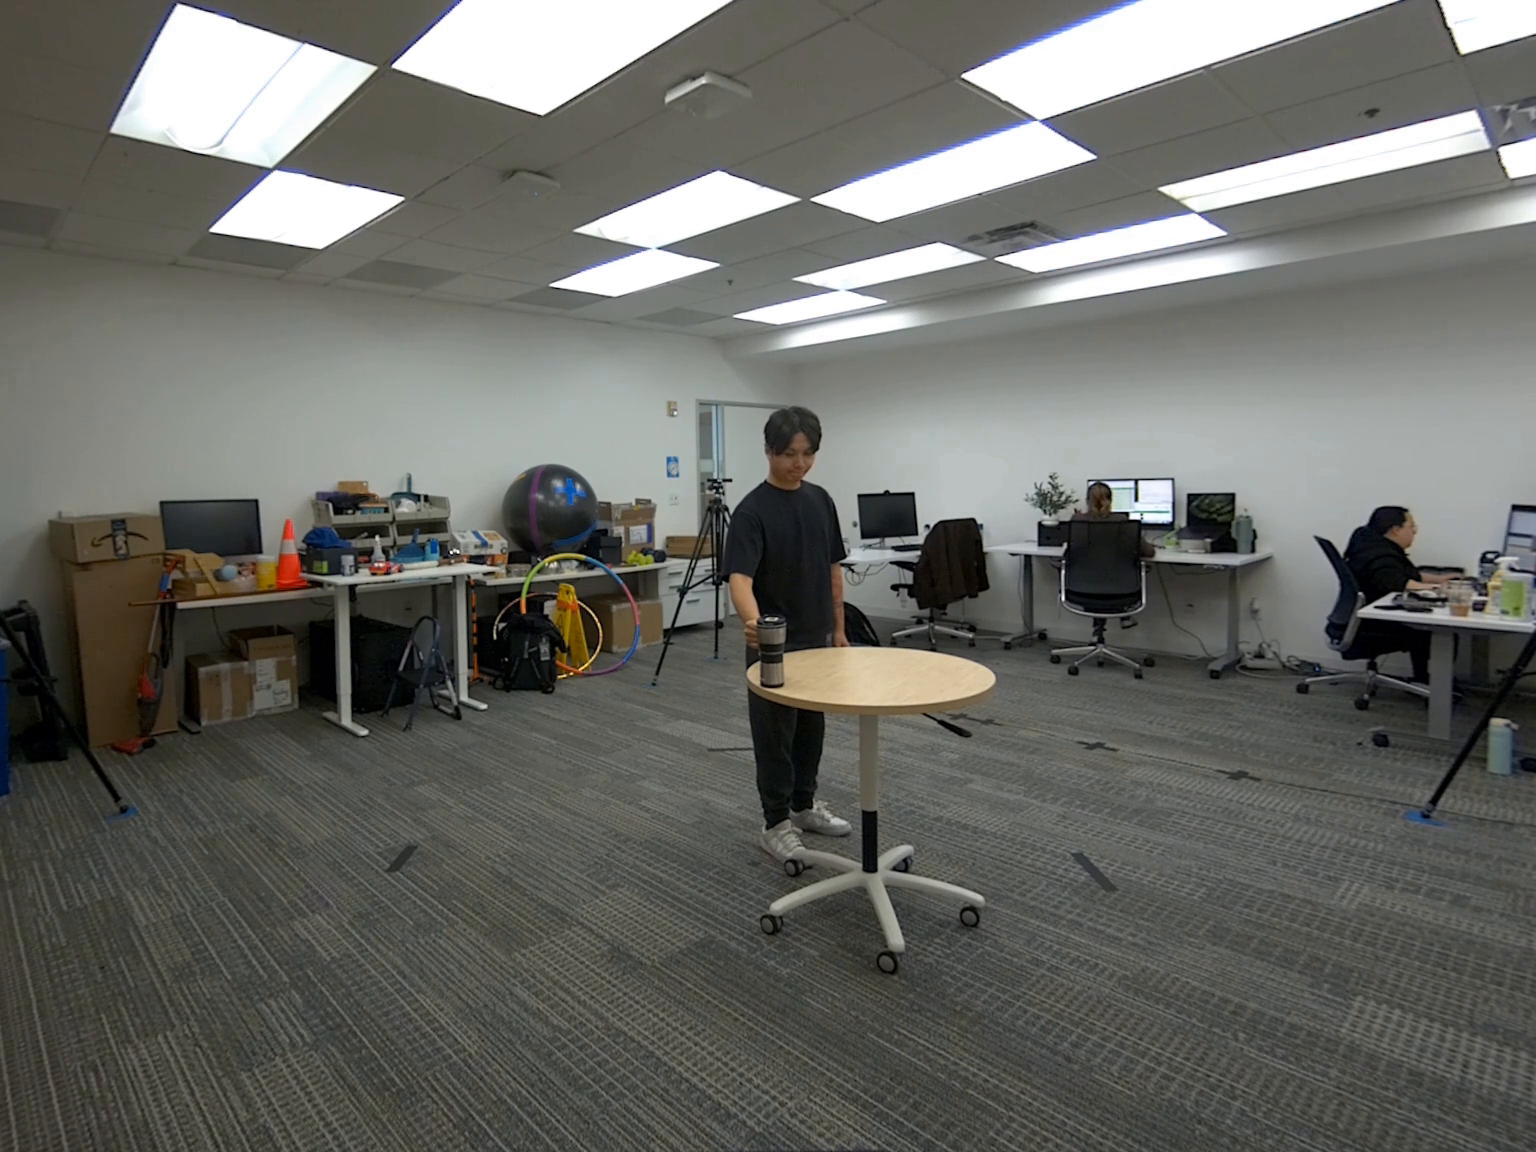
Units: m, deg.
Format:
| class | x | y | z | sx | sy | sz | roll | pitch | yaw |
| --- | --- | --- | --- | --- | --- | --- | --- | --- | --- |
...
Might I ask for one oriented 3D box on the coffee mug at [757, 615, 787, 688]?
| class | x | y | z | sx | sy | sz | roll | pitch | yaw |
| --- | --- | --- | --- | --- | --- | --- | --- | --- | --- |
| coffee mug | 0.025 | 0.228 | 2.554 | 0.090 | 0.202 | 0.119 | 1 | 7 | 40 |
